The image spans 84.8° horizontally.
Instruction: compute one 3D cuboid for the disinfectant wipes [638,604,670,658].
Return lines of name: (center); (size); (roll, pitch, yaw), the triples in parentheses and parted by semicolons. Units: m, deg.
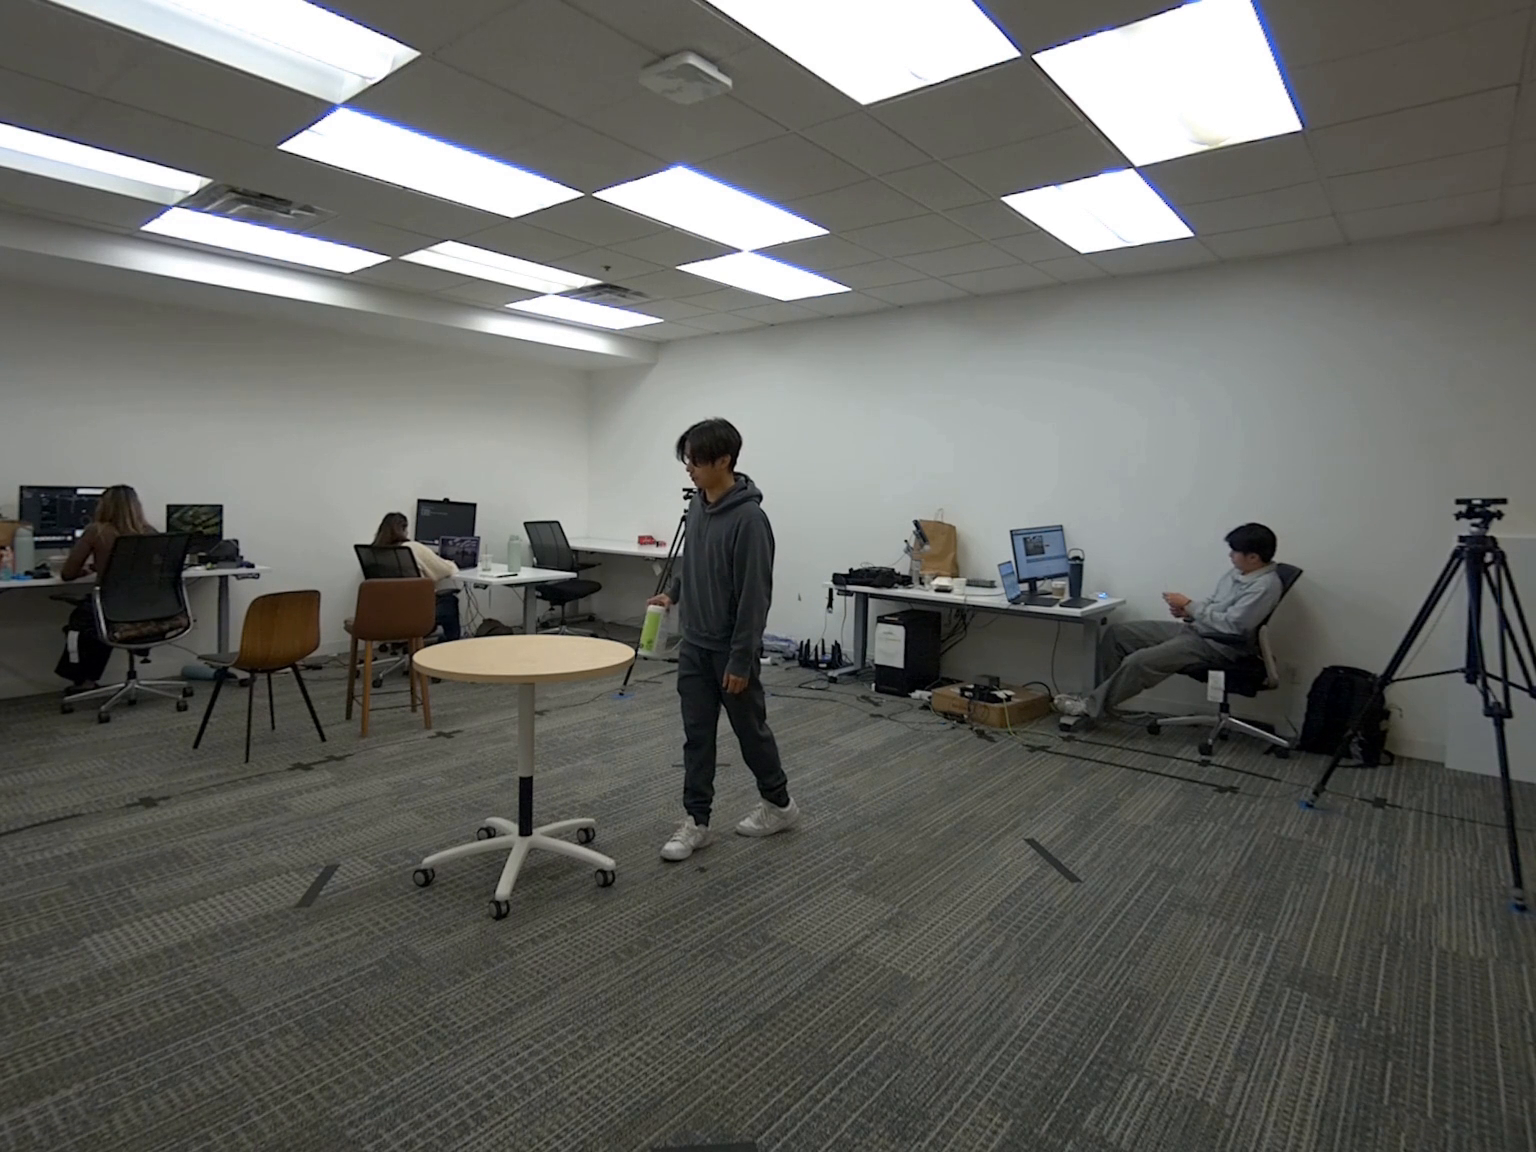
disinfectant wipes: (-0.489, 0.235, 3.599); (0.118, 0.219, 0.117); (11, -7, -1)
